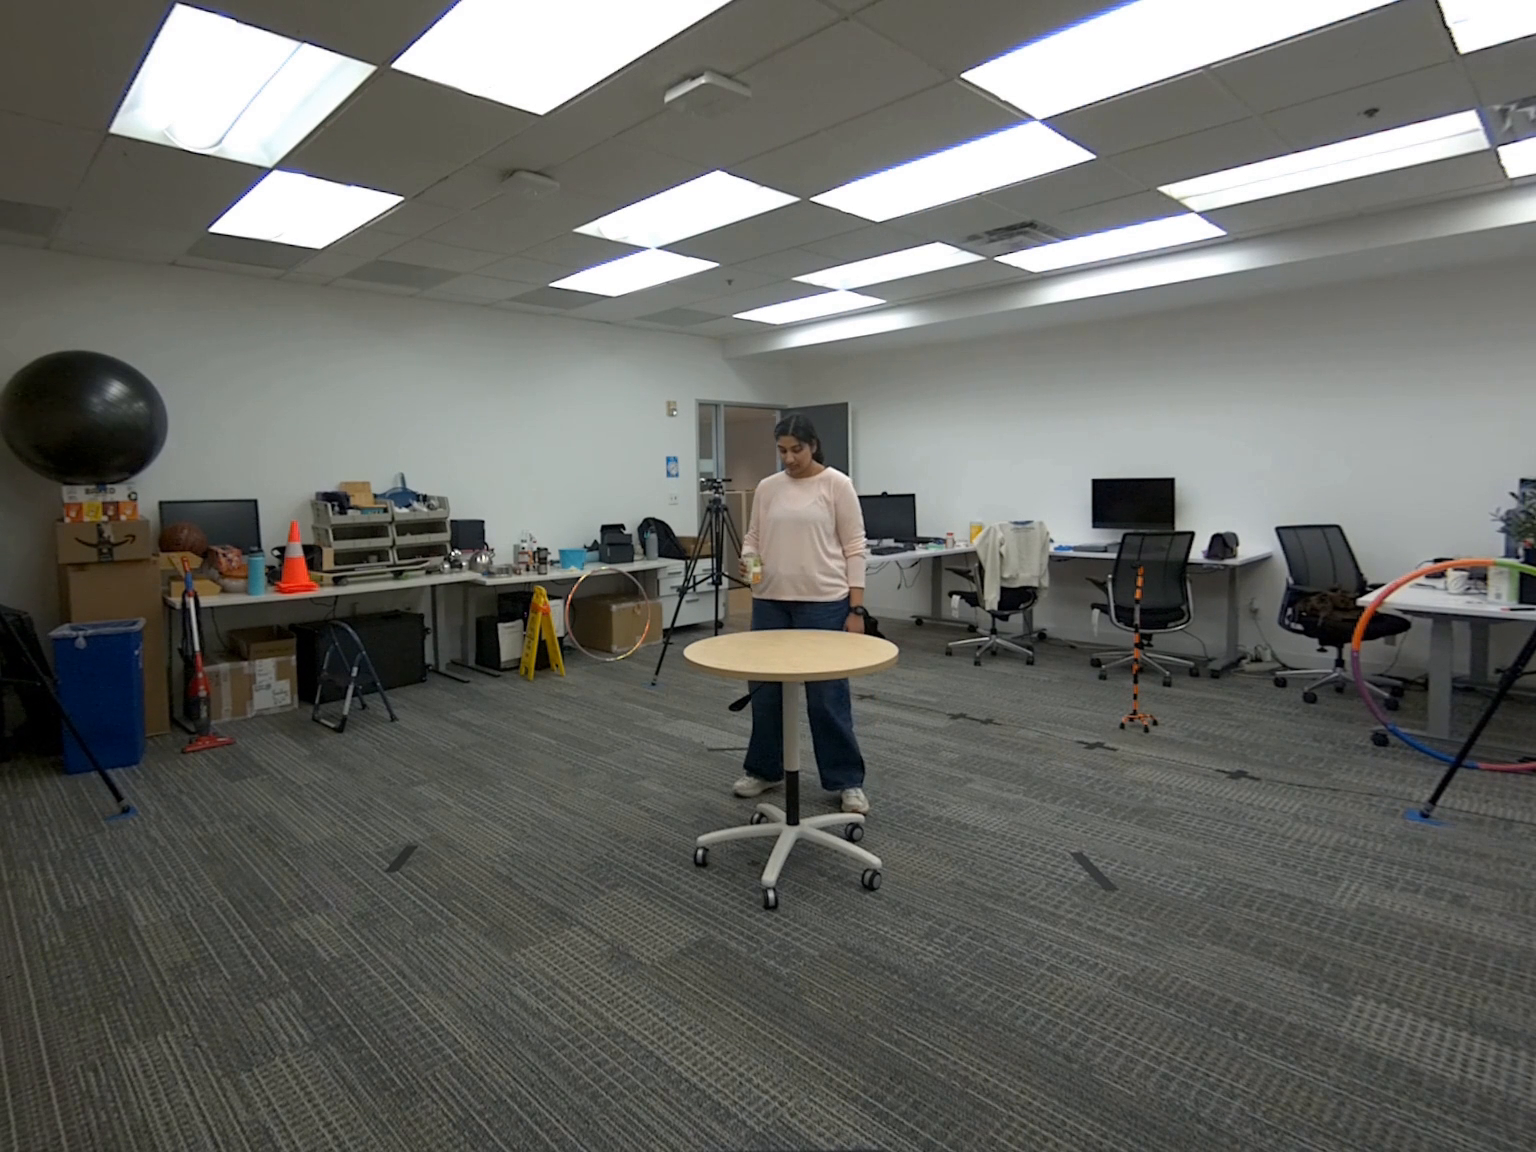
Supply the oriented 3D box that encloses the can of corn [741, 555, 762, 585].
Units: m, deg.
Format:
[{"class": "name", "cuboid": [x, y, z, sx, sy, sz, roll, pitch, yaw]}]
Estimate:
[{"class": "can of corn", "cuboid": [-0.076, -0.025, 3.499, 0.074, 0.111, 0.074, -2, 2, -2]}]
